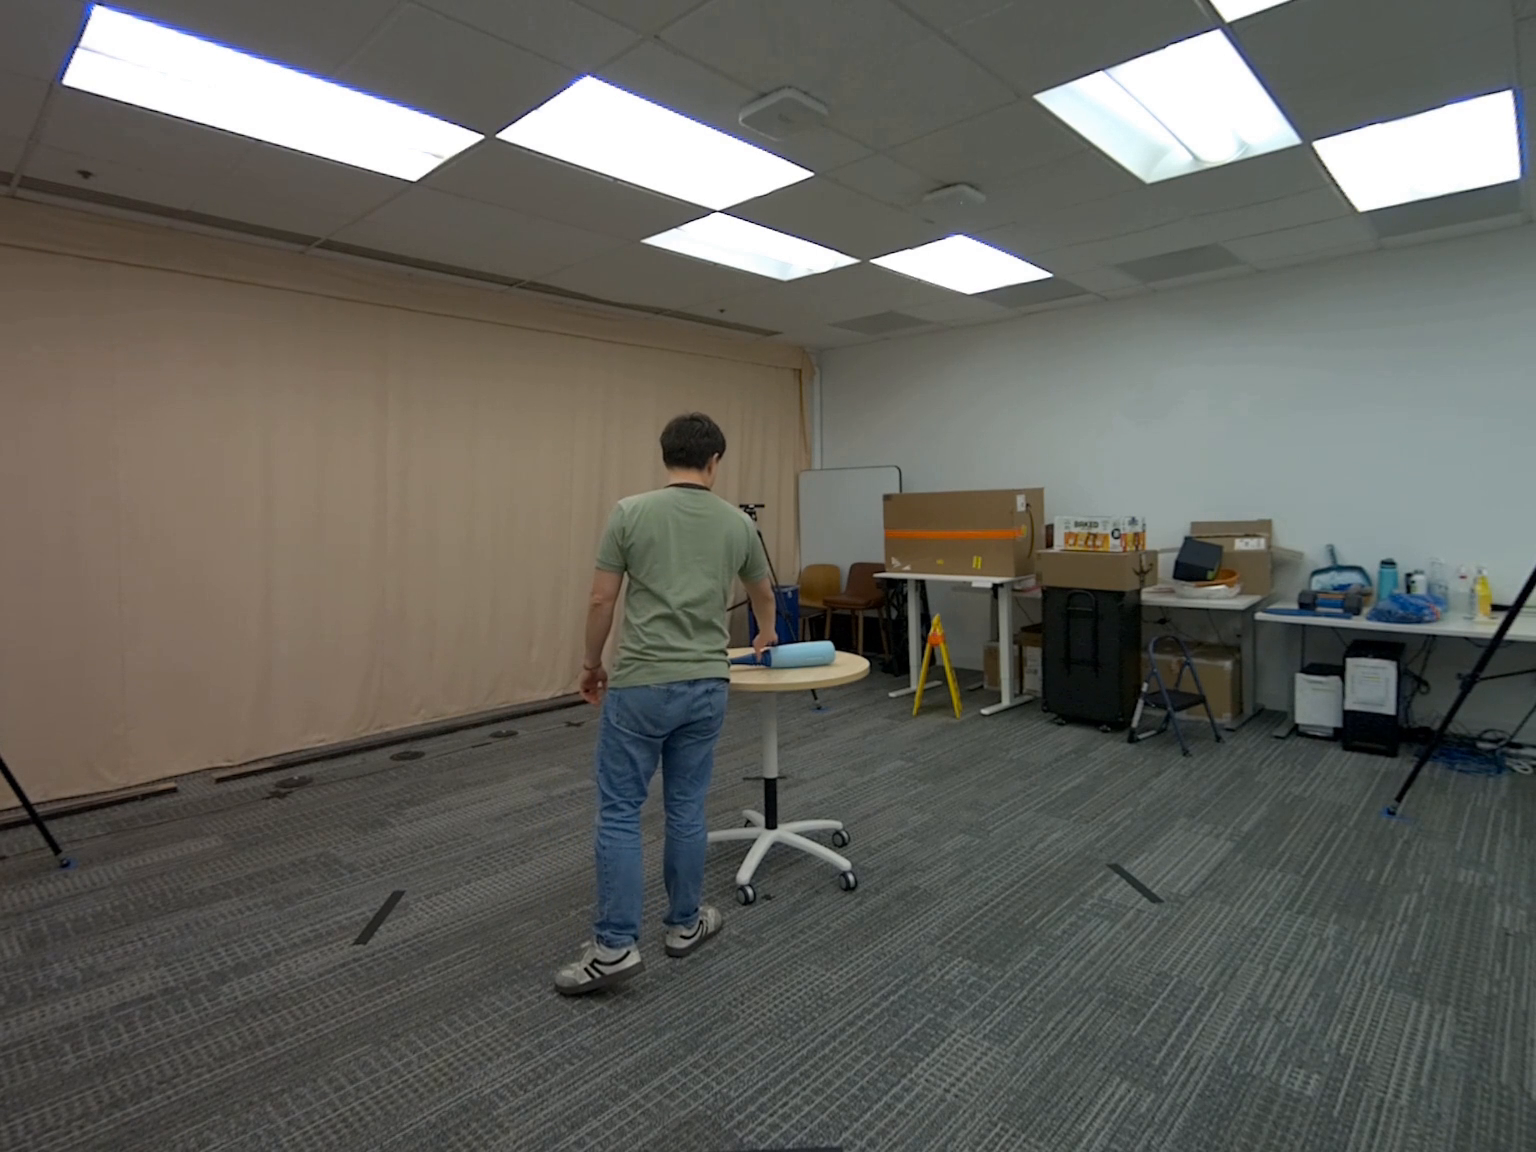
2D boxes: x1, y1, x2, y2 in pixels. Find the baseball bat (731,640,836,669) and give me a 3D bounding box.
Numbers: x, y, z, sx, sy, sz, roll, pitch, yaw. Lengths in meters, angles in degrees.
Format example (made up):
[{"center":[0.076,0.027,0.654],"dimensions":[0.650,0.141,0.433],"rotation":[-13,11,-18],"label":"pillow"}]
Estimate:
[{"center":[-0.015,0.310,3.110],"dimensions":[0.538,0.089,0.090],"rotation":[-5,4,-9],"label":"baseball bat"}]
